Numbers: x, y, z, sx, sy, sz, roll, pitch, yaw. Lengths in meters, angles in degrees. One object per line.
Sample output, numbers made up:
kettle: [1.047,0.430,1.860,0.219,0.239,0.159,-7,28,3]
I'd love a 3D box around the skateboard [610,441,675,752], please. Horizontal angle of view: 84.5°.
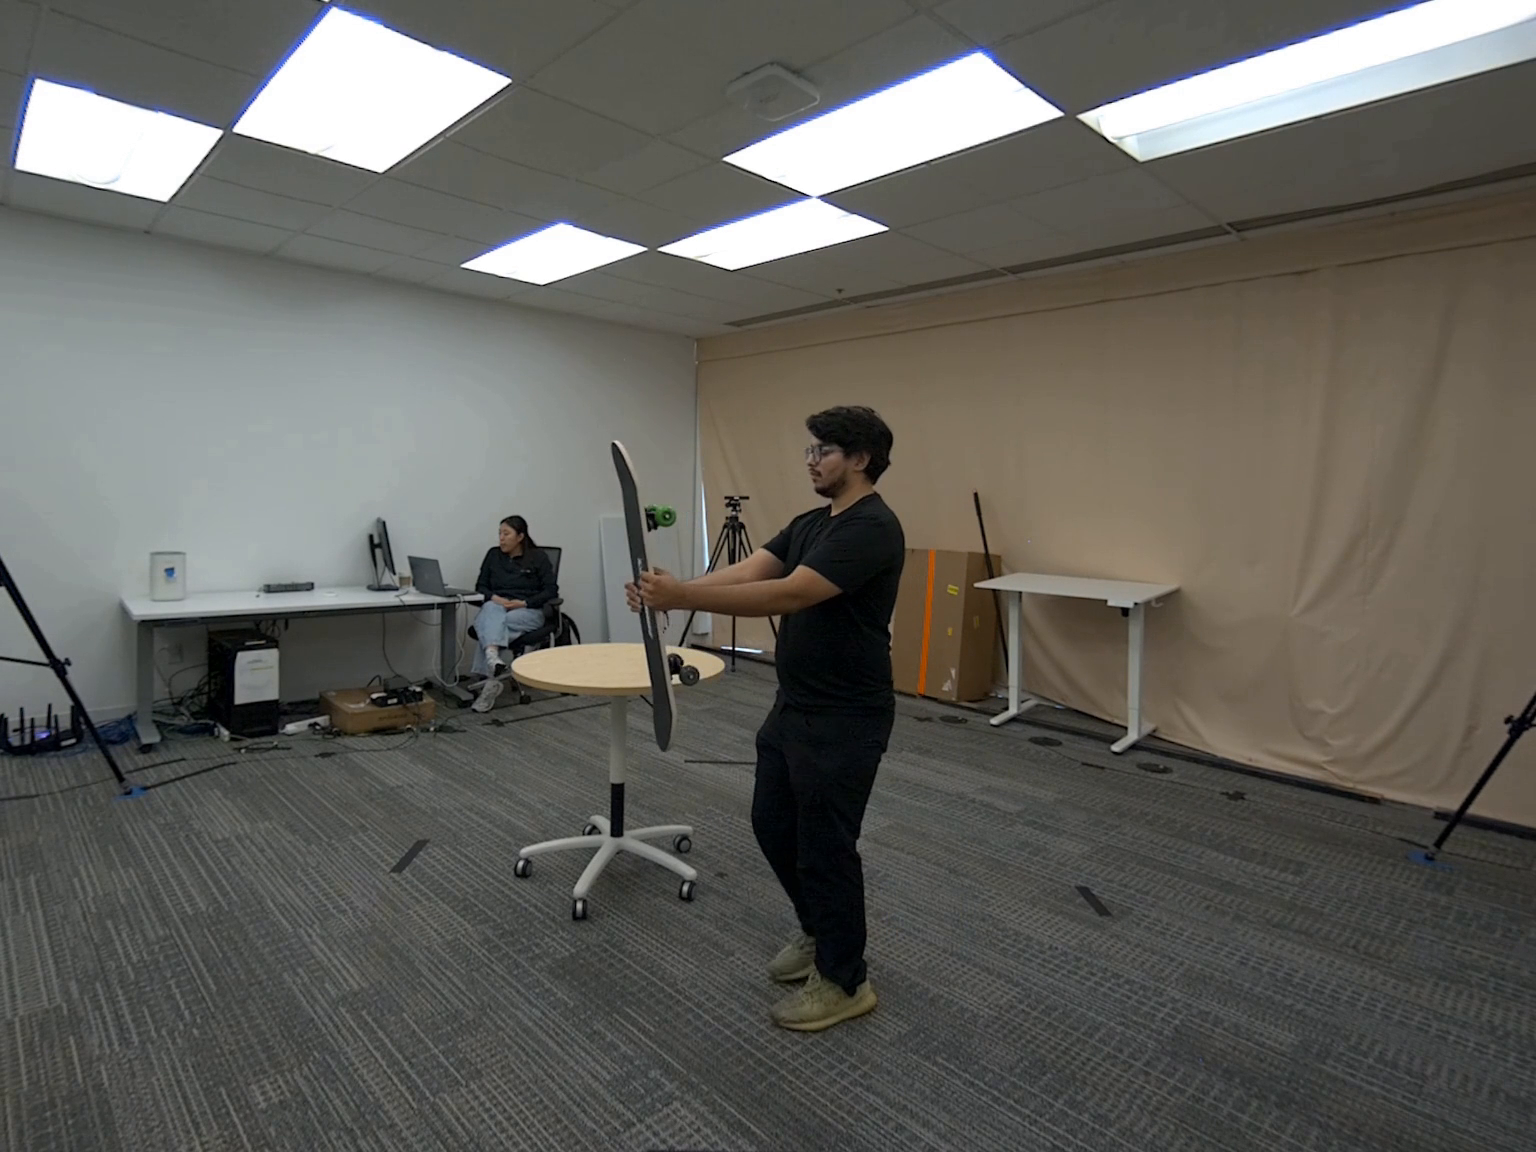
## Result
skateboard: [-0.277,0.051,2.118,0.109,0.780,0.197,-10,8,-20]
